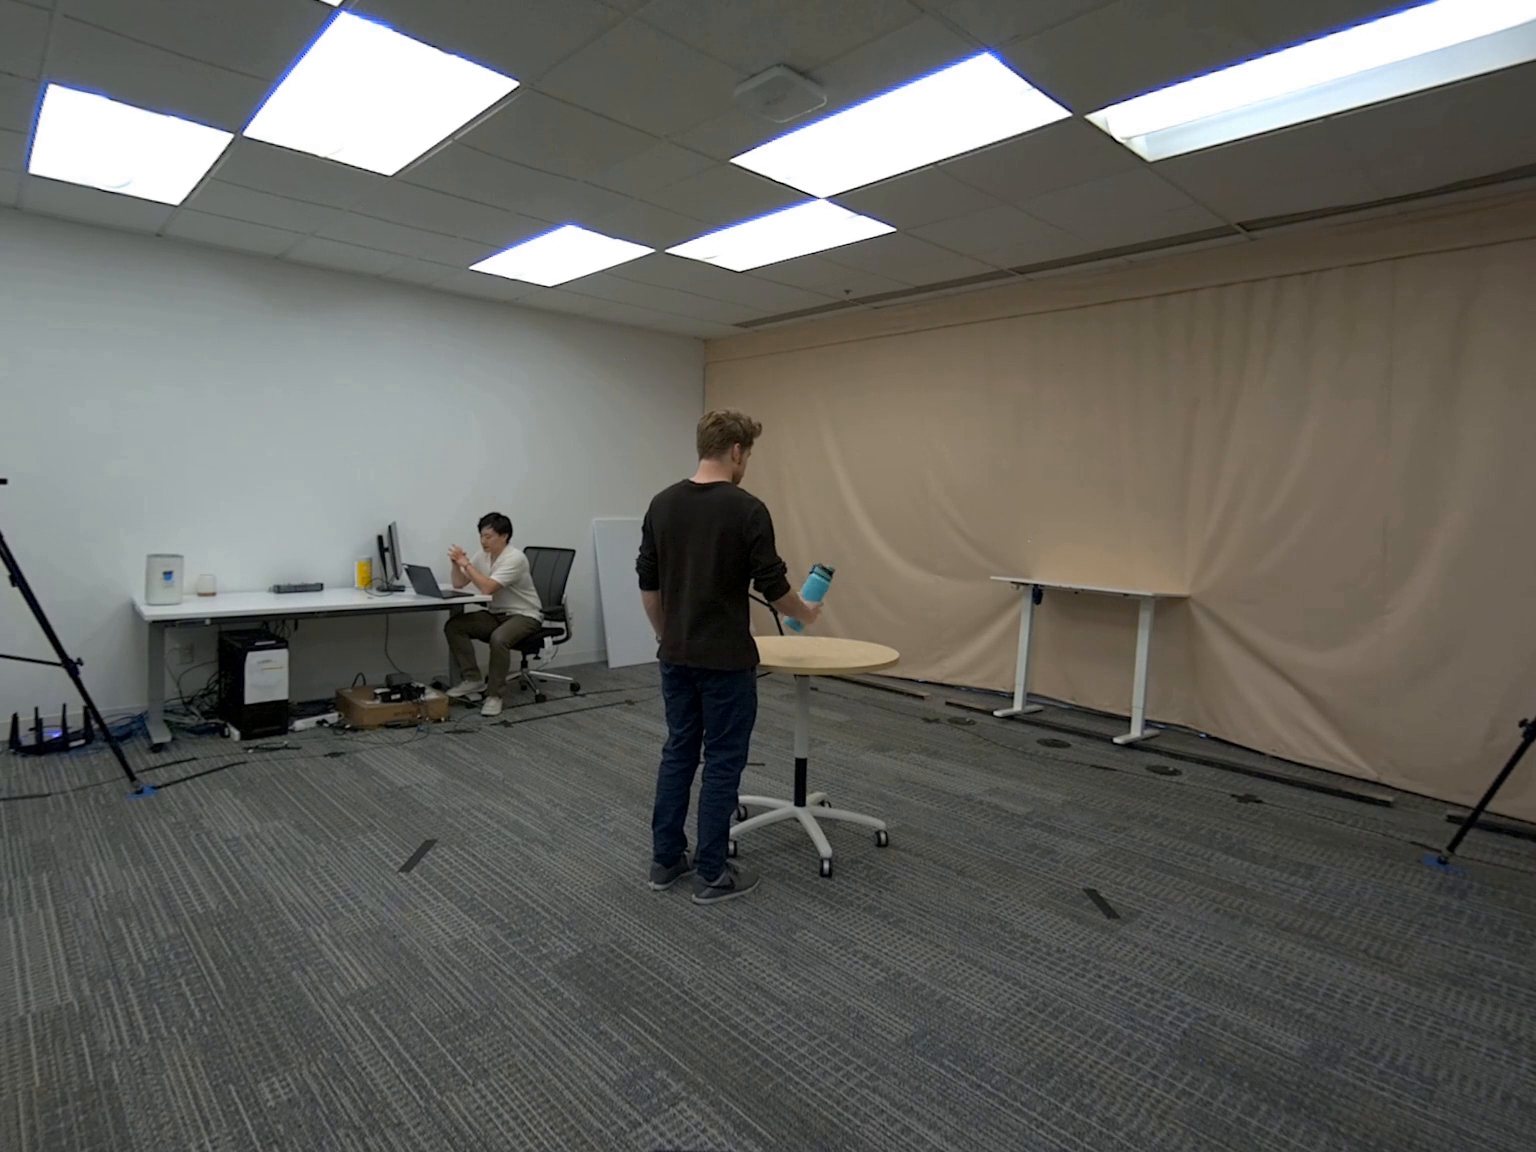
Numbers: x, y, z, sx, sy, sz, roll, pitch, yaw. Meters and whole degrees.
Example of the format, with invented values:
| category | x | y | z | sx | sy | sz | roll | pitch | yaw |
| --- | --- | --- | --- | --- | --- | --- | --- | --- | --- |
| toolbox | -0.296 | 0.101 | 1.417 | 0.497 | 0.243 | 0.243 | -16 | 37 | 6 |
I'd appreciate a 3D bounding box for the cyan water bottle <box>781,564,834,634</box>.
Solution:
| category | x | y | z | sx | sy | sz | roll | pitch | yaw |
| --- | --- | --- | --- | --- | --- | --- | --- | --- | --- |
| cyan water bottle | 0.155 | 0.087 | 3.236 | 0.092 | 0.283 | 0.092 | 29 | -2 | 0 |
